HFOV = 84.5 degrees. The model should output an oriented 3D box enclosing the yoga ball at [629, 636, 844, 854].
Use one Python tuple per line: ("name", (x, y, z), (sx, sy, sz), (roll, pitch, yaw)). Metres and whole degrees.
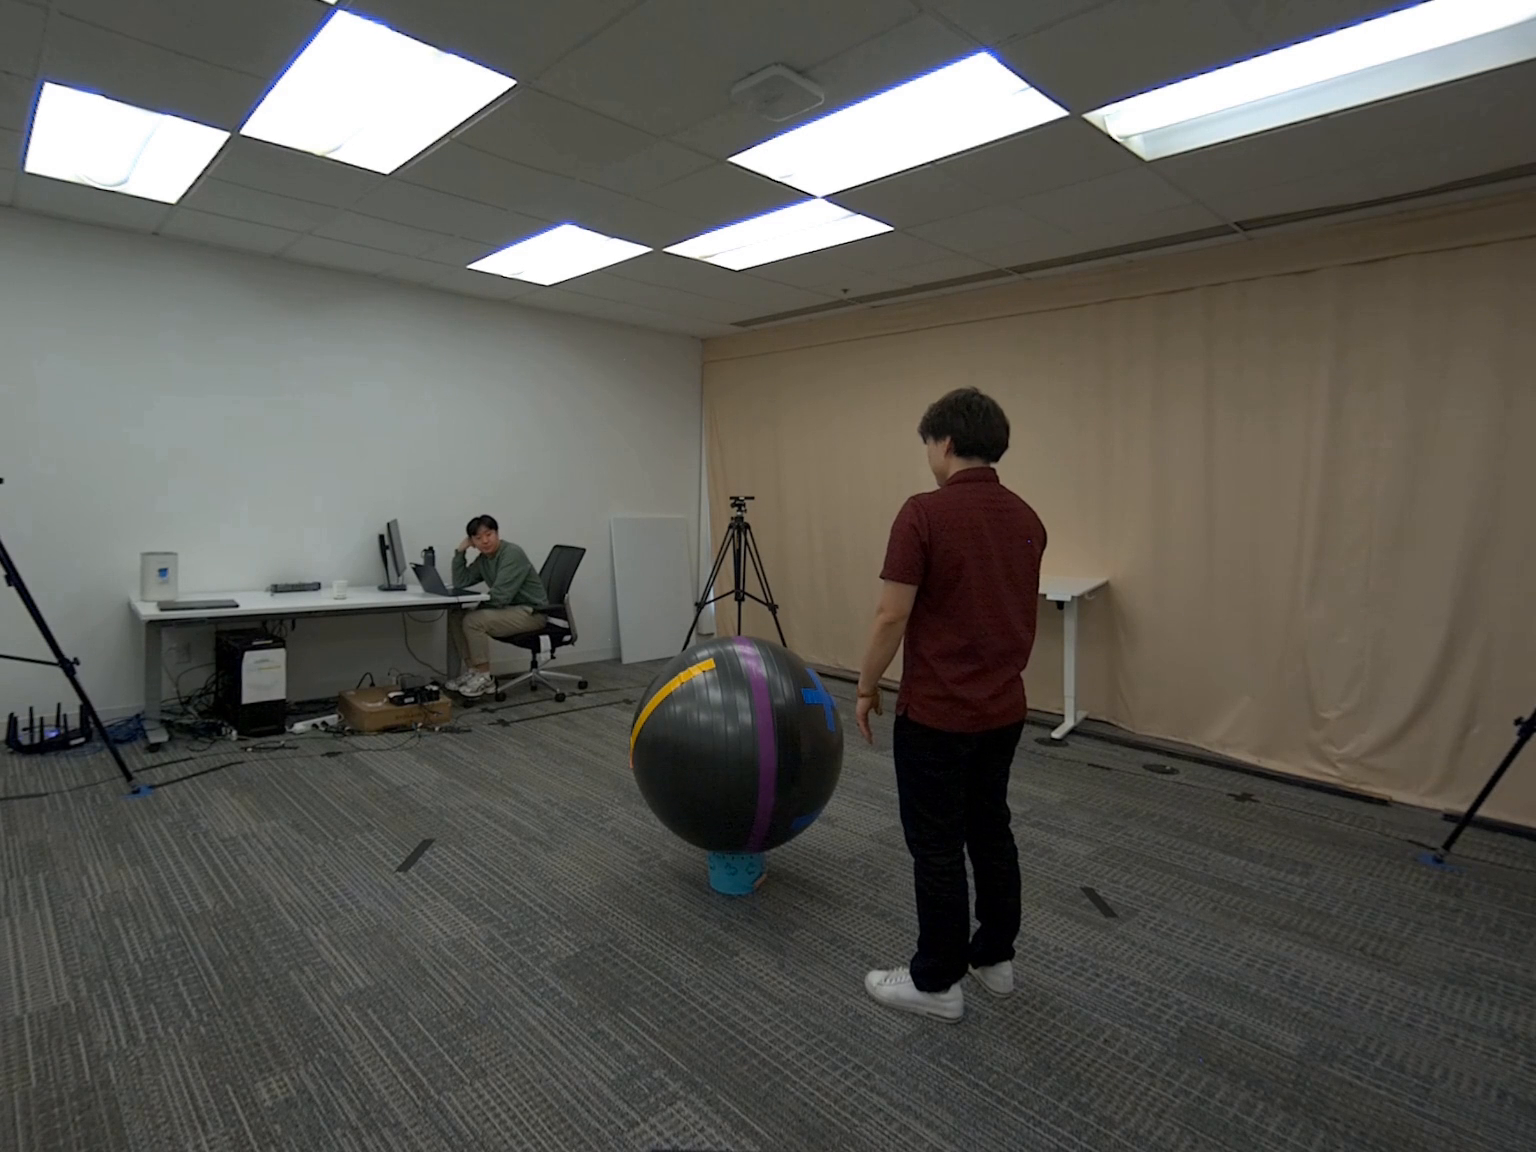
("yoga ball", (-0.117, 0.600, 3.016), (0.757, 0.756, 0.761), (1, 4, -1))
